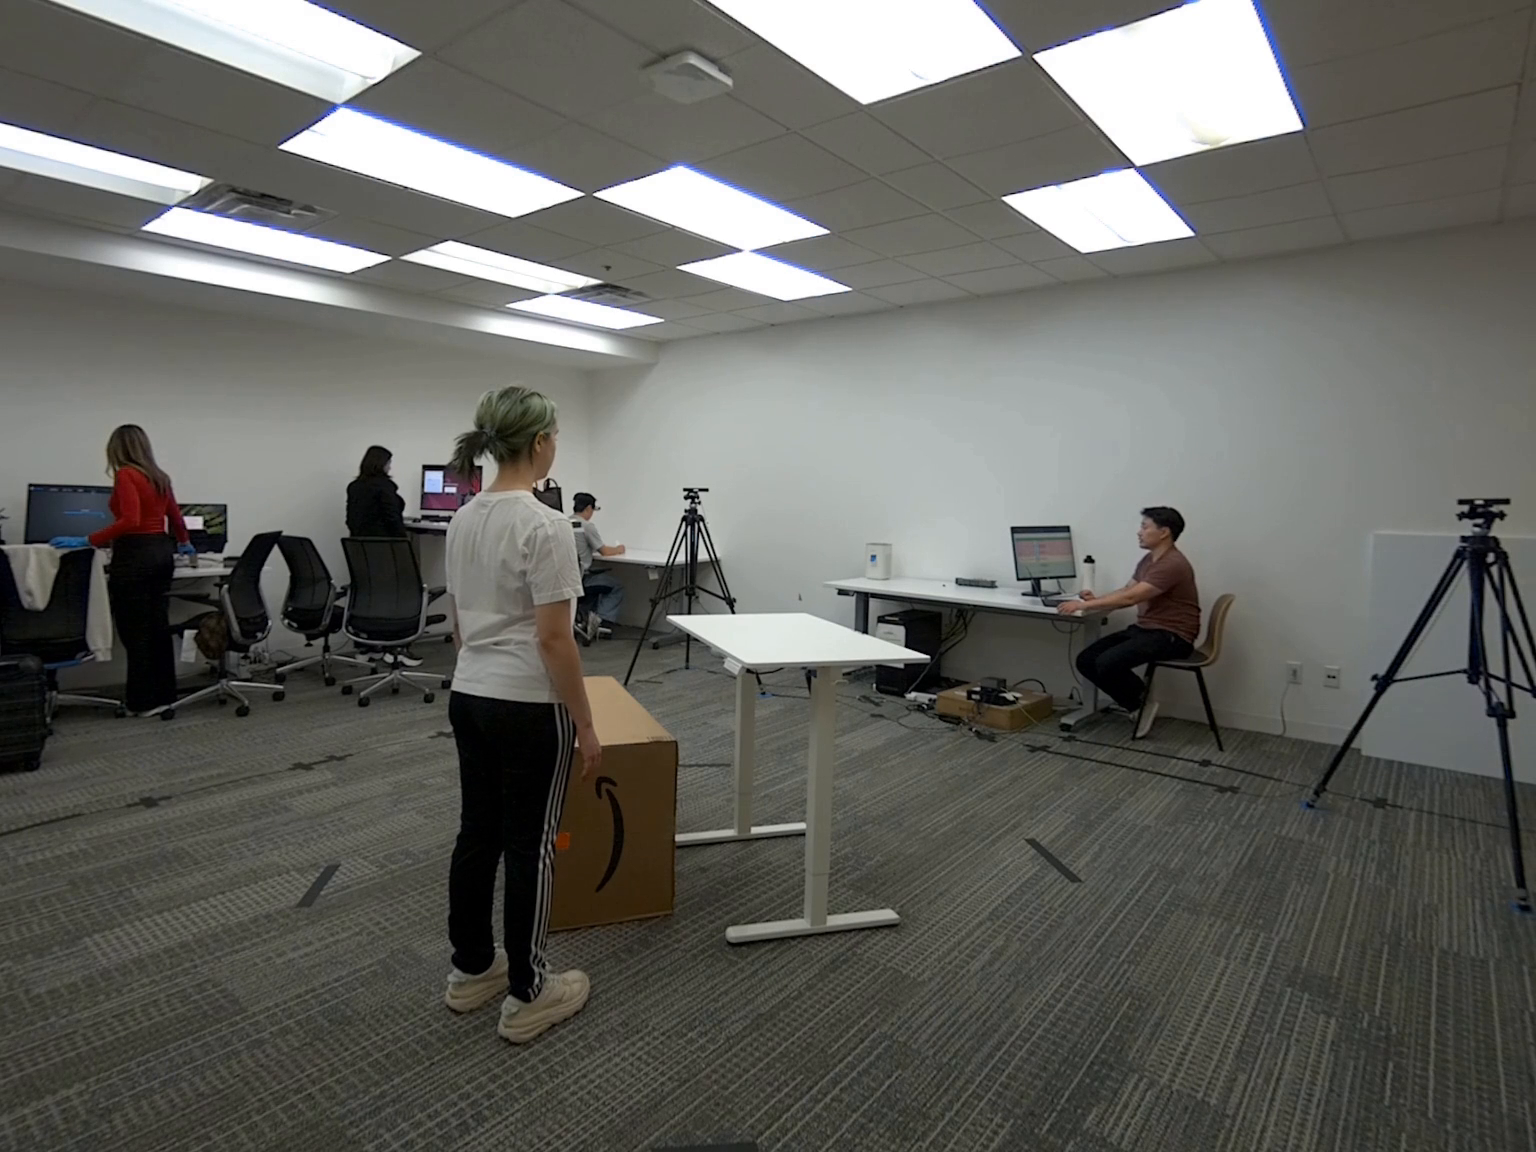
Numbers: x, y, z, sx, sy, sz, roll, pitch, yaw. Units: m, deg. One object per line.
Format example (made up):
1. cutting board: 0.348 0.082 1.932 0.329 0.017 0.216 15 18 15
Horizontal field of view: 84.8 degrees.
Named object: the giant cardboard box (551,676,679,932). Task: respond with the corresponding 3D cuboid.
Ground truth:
1. giant cardboard box: -0.698 0.766 3.169 0.437 0.582 1.052 0 4 -22
